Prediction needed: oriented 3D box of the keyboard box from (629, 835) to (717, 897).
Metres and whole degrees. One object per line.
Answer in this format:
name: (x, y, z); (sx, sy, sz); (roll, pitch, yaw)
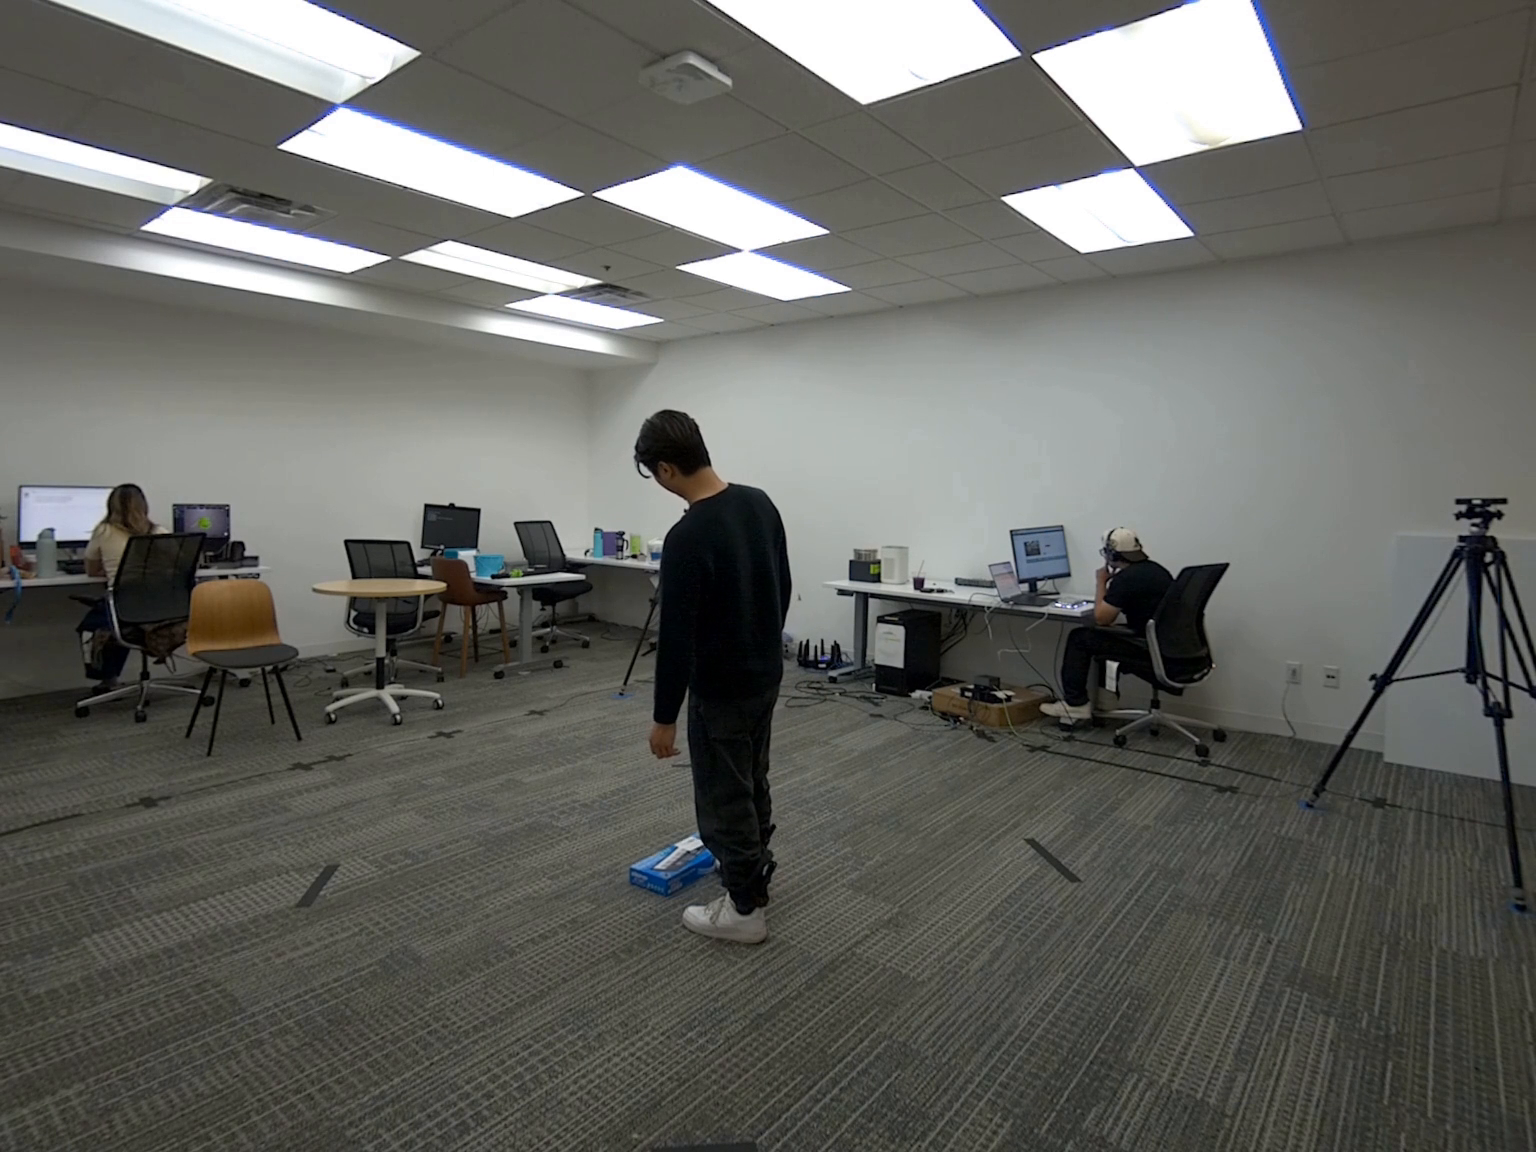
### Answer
keyboard box: (-0.309, 1.038, 3.113); (0.181, 0.059, 0.425); (4, 6, 33)
